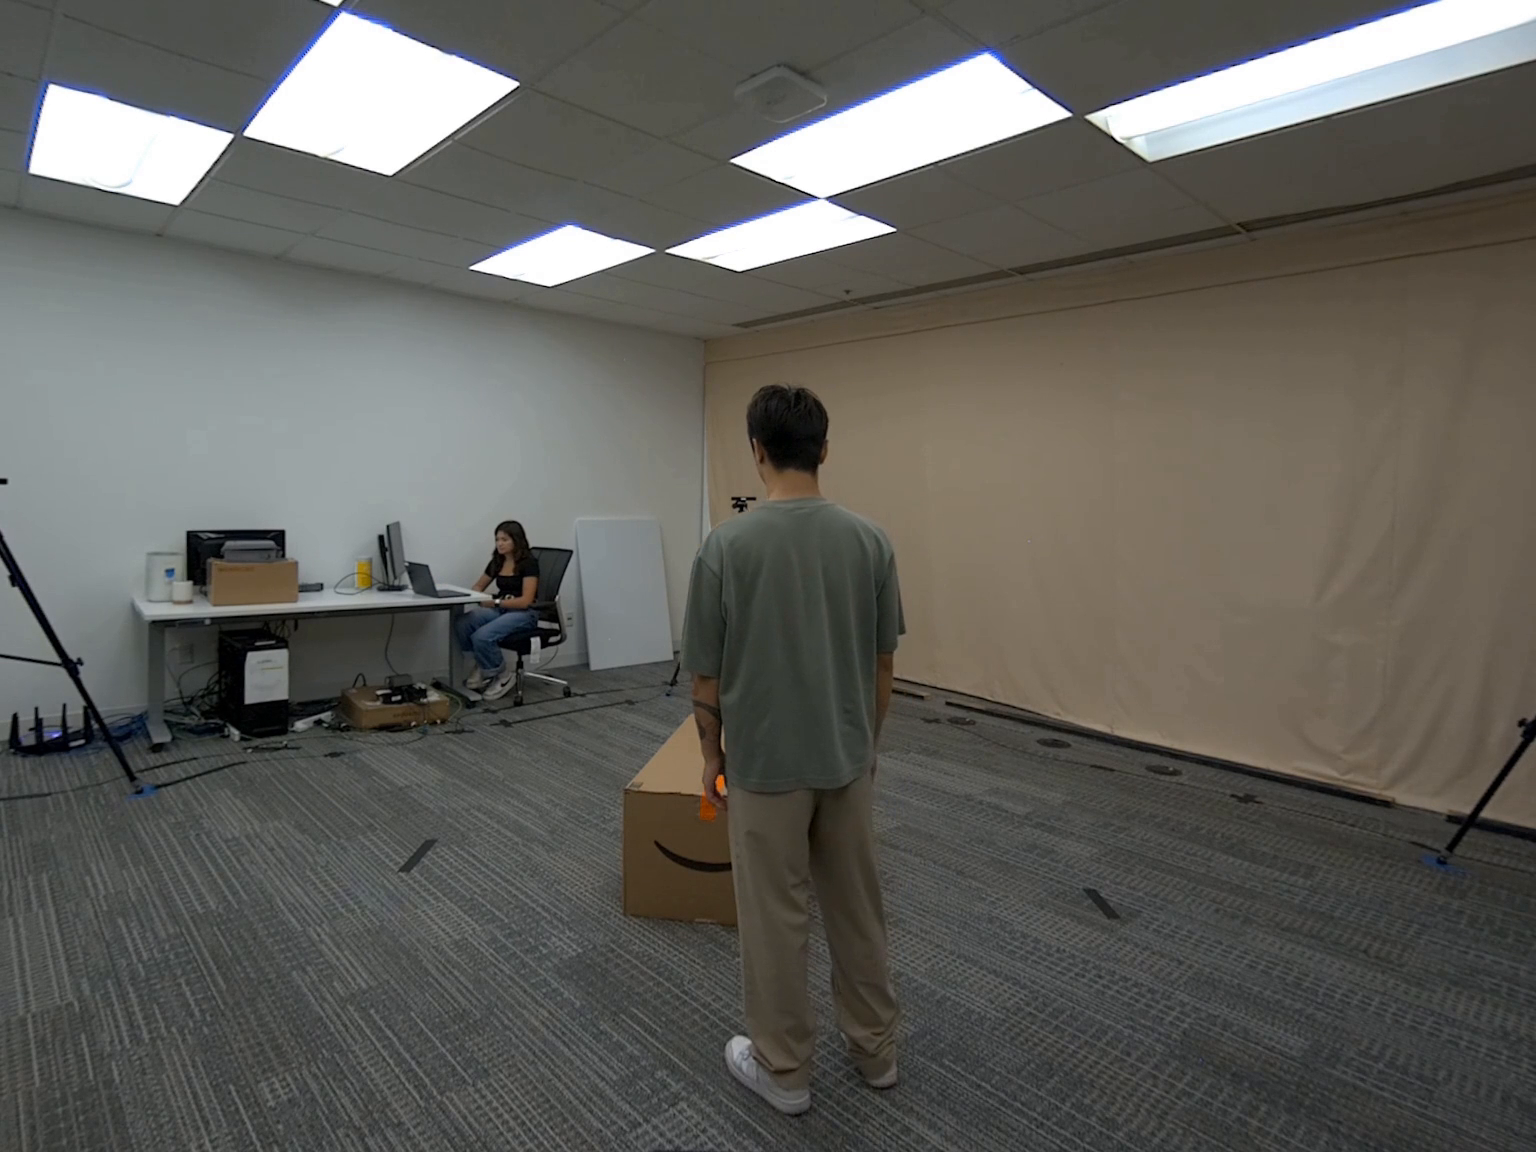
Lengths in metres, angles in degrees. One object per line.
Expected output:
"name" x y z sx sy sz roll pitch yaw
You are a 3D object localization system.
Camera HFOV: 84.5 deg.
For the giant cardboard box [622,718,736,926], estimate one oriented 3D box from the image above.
"giant cardboard box" -0.138 0.880 3.243 0.581 0.425 1.022 1 5 7
